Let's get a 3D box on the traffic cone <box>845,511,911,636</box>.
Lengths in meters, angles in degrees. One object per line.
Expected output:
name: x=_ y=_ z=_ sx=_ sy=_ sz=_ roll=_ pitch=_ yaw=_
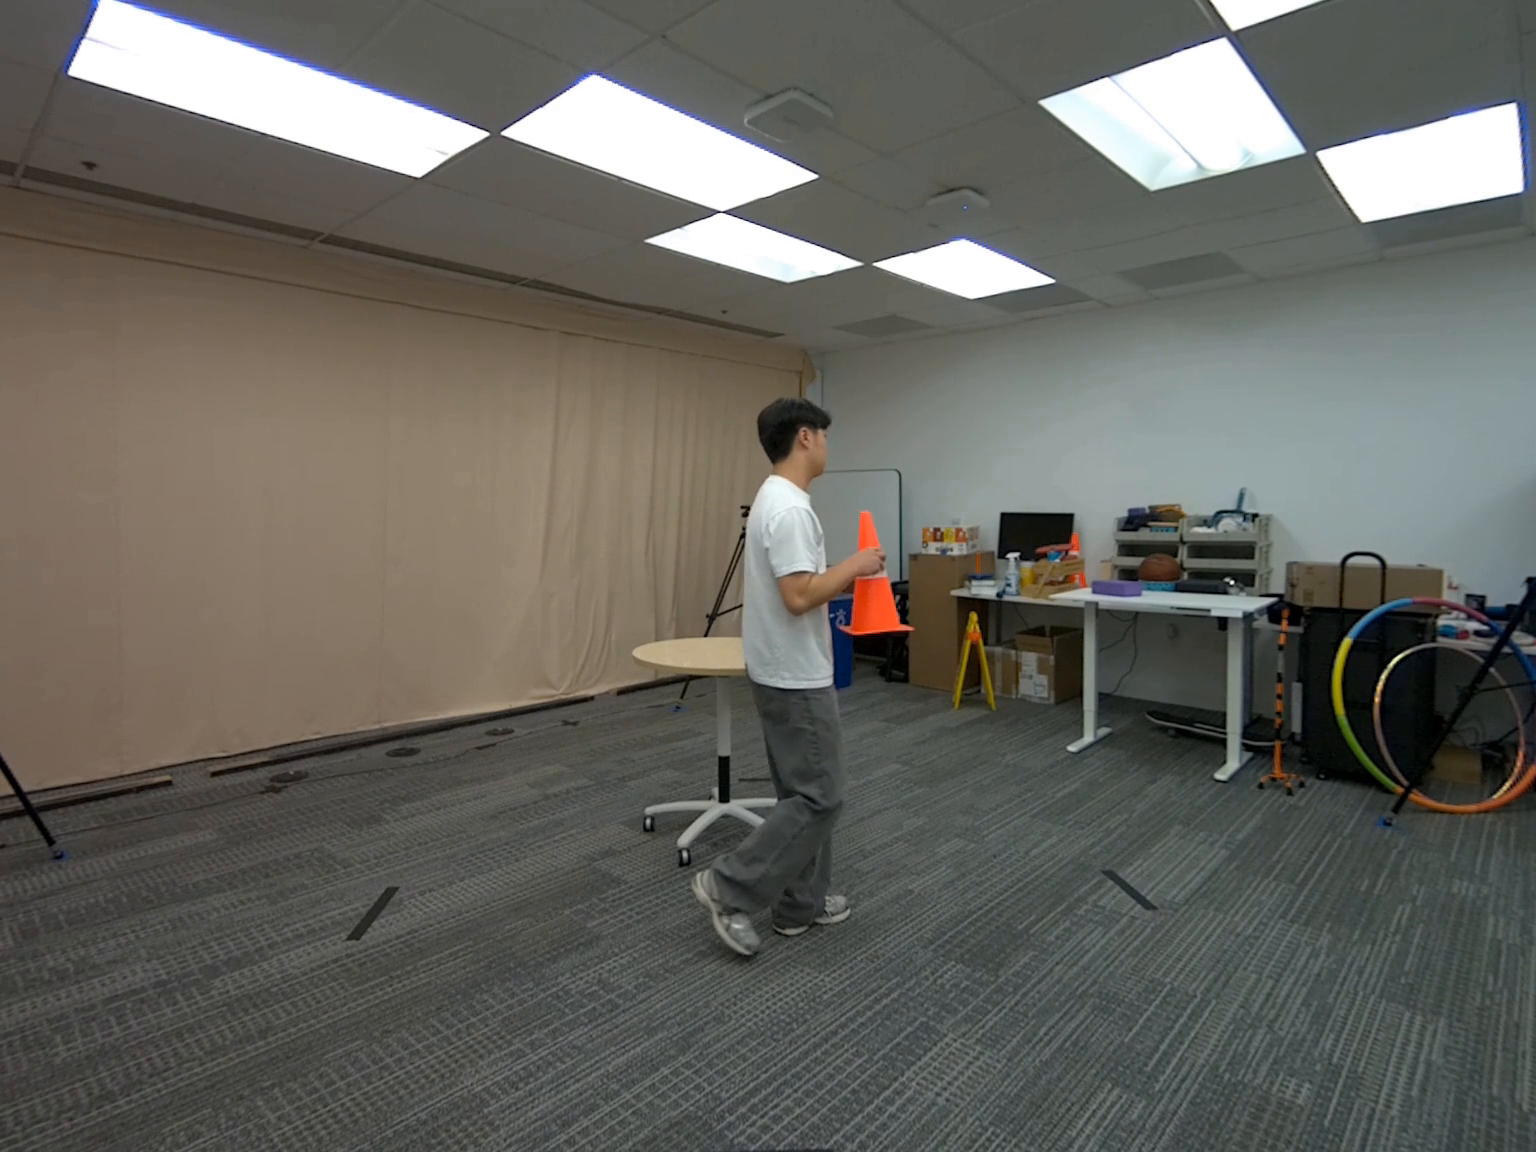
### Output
traffic cone: x=0.345 y=-0.007 z=2.711 sx=0.202 sy=0.383 sz=0.207 roll=-3 pitch=2 yaw=-15
